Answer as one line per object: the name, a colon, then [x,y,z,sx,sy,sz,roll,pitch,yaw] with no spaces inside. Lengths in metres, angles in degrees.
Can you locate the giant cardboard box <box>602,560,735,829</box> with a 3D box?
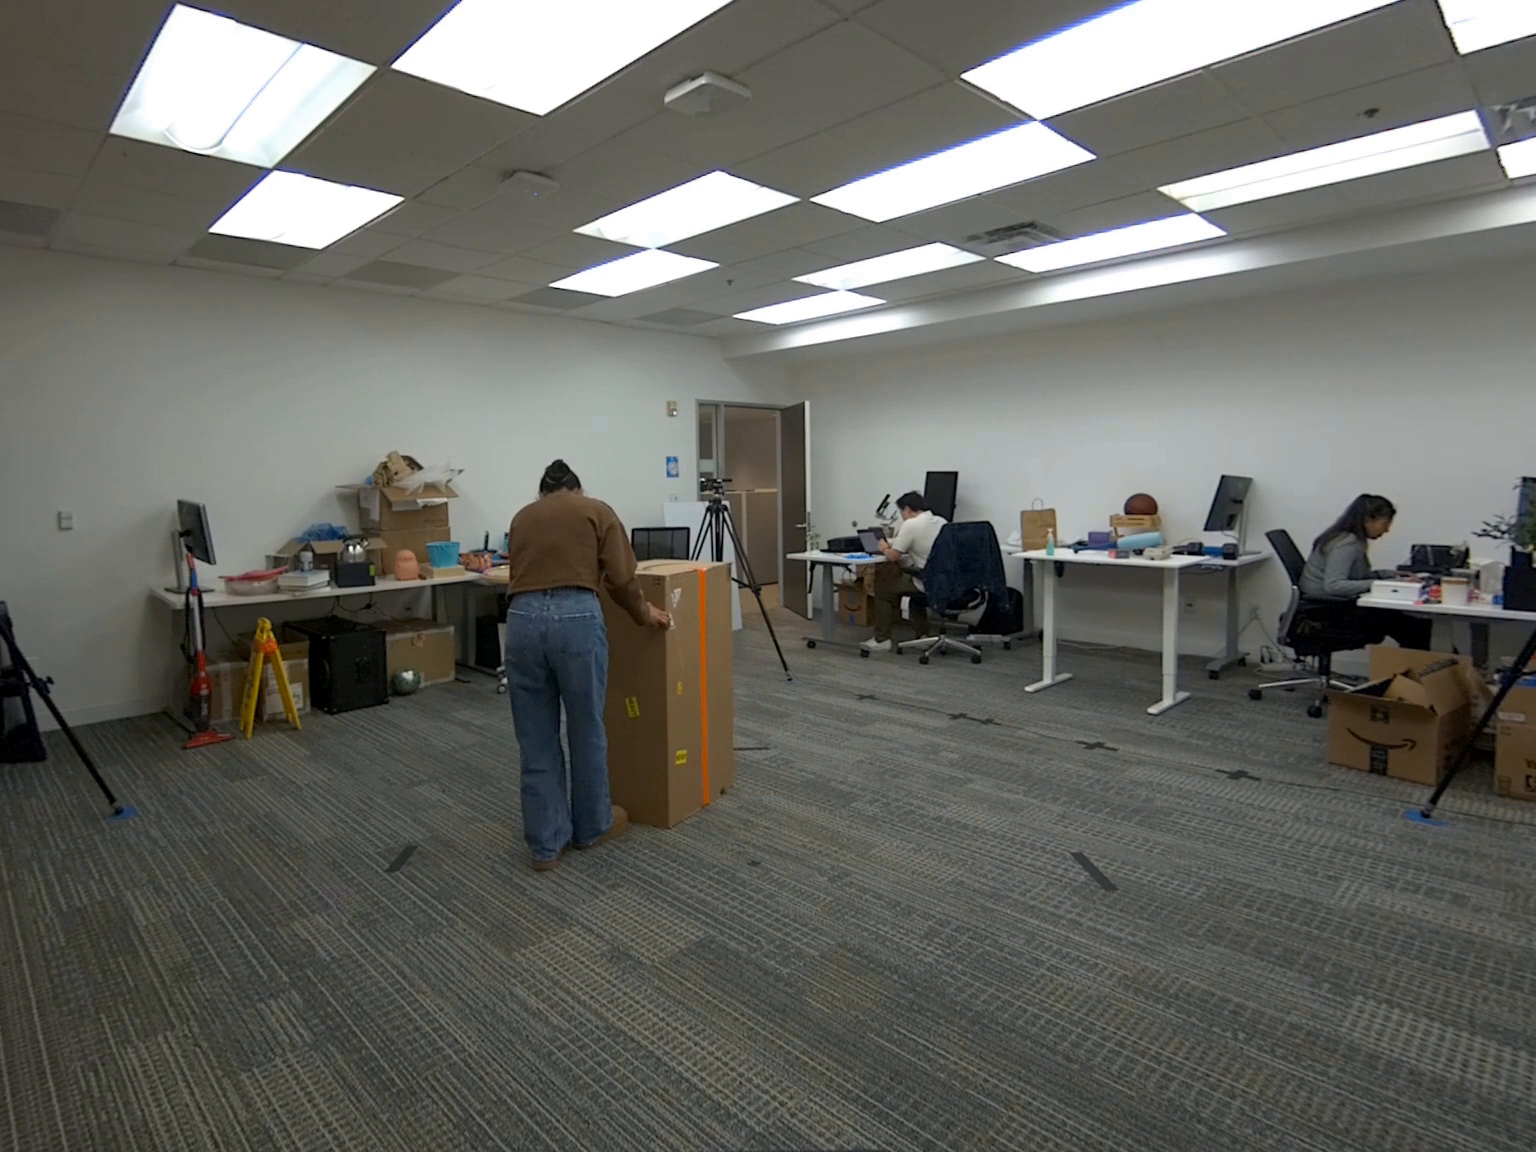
giant cardboard box: [-0.461,0.470,3.745,0.437,1.022,0.565,1,4,27]
